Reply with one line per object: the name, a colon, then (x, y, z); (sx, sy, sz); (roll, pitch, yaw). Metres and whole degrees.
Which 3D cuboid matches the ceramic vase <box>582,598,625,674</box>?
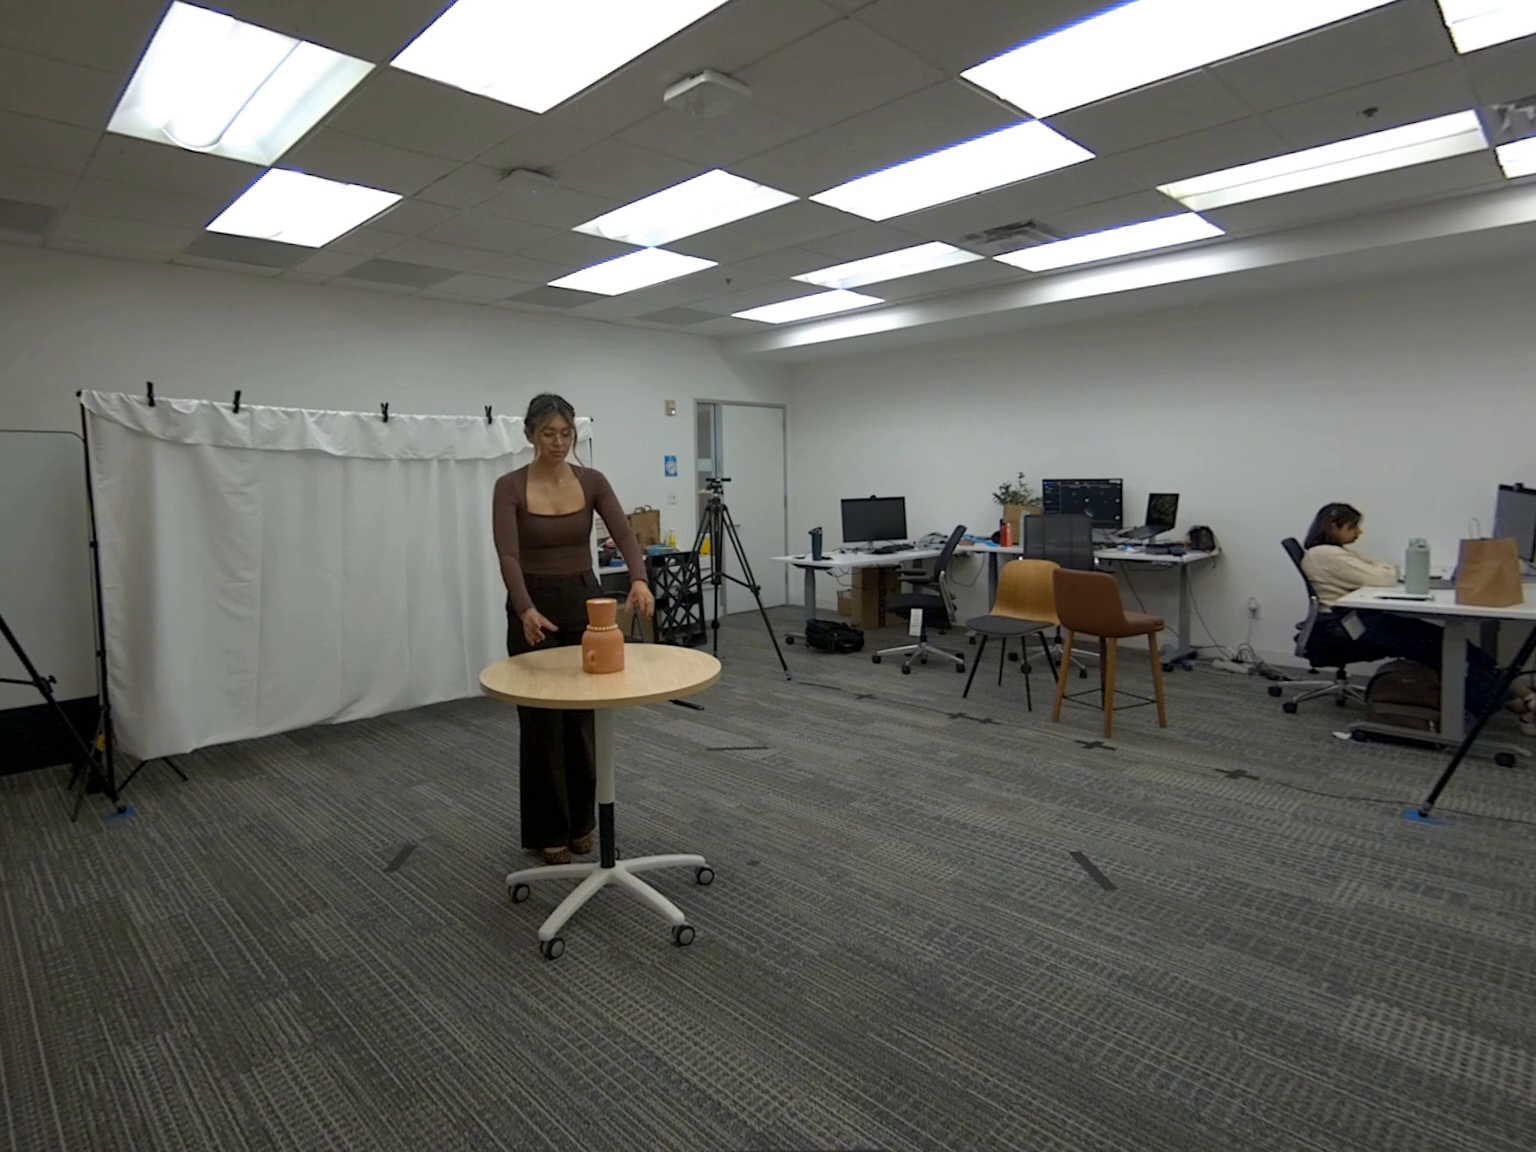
ceramic vase: (-0.522, 0.188, 2.722); (0.132, 0.219, 0.162); (-3, 5, -19)
